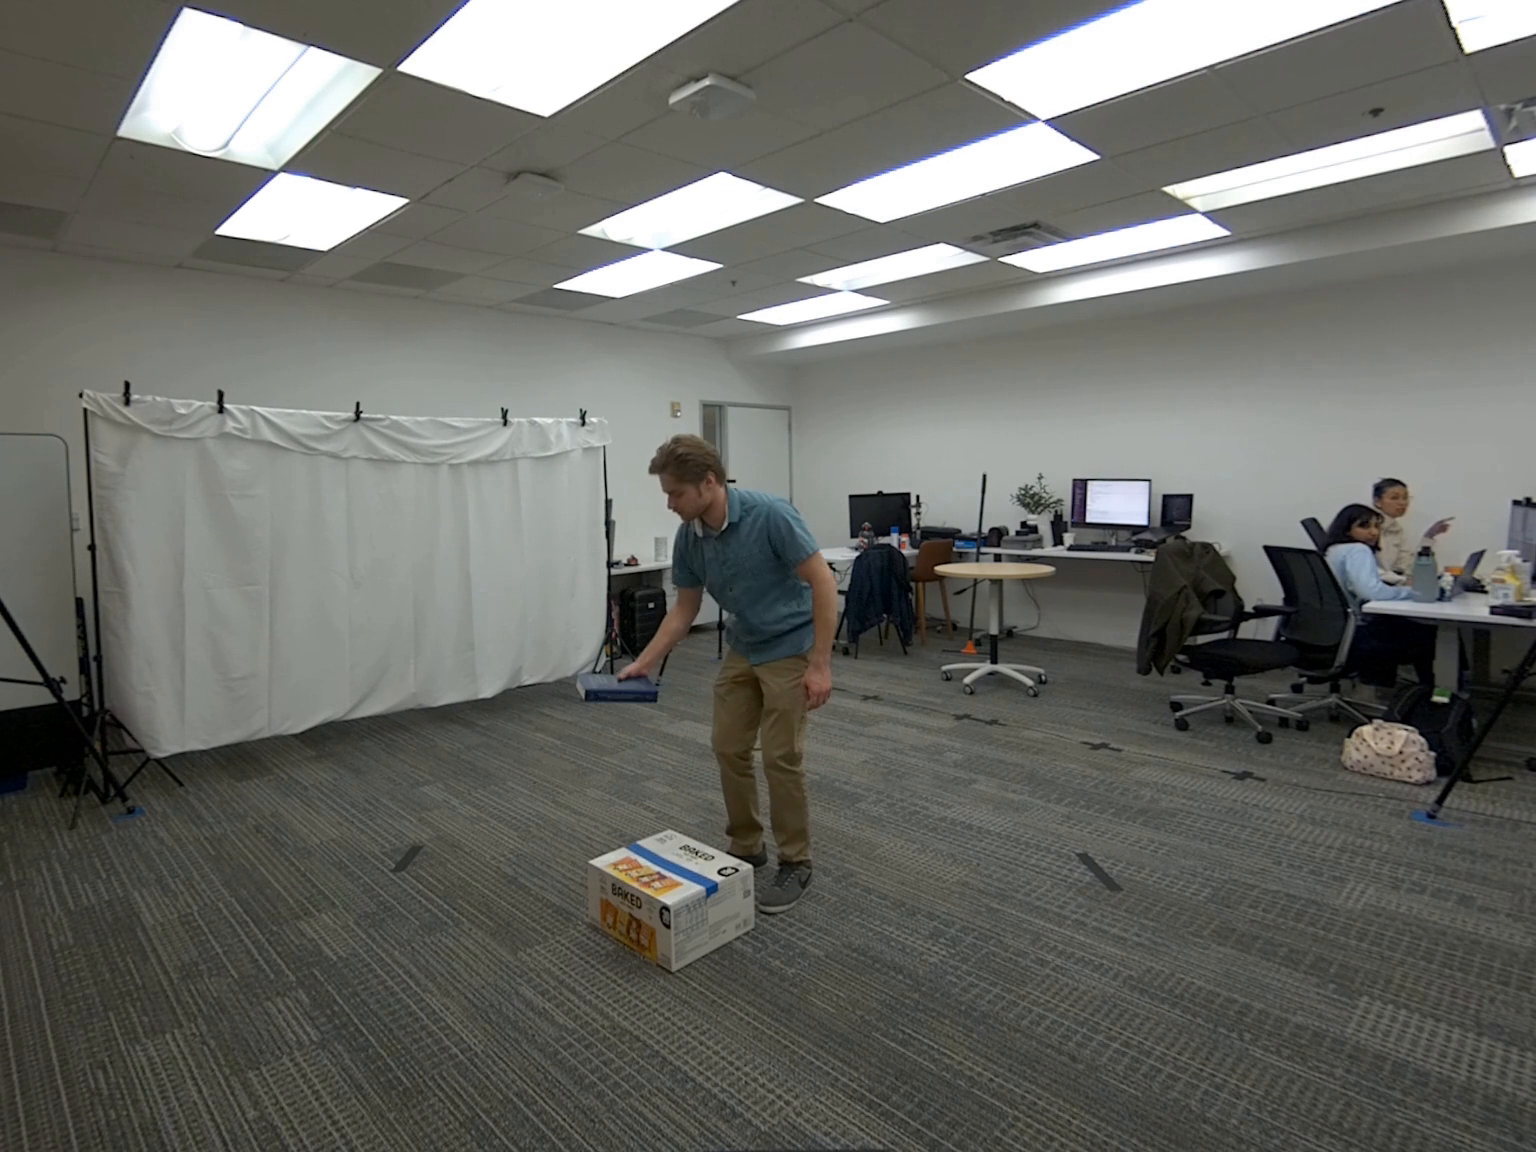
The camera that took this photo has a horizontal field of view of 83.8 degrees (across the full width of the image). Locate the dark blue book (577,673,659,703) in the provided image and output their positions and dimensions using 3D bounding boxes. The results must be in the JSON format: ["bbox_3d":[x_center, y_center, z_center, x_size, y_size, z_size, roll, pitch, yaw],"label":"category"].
[{"bbox_3d":[-0.491,0.368,2.816,0.241,0.045,0.167,4,8,-16],"label":"dark blue book"}]
